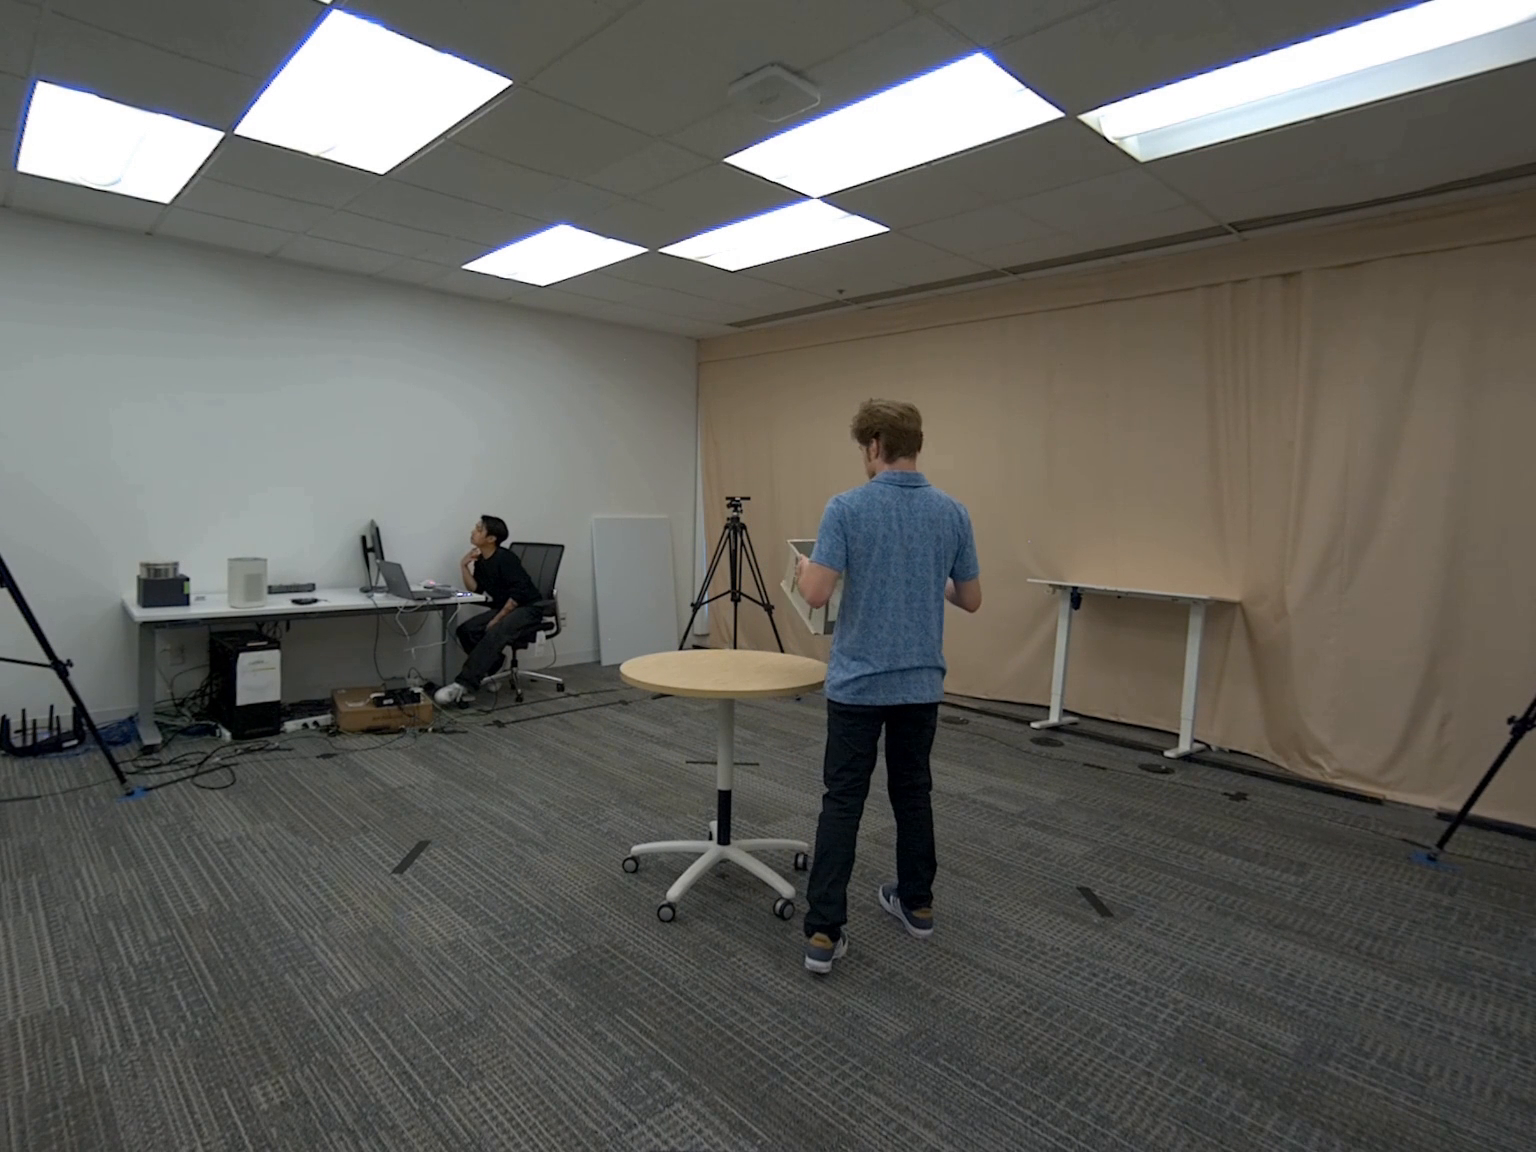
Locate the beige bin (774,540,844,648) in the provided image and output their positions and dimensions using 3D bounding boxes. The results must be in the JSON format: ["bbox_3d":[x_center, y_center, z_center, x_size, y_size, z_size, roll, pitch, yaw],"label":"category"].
[{"bbox_3d":[0.299,0.048,2.948,0.416,0.186,0.389,-2,30,-22],"label":"beige bin"}]
